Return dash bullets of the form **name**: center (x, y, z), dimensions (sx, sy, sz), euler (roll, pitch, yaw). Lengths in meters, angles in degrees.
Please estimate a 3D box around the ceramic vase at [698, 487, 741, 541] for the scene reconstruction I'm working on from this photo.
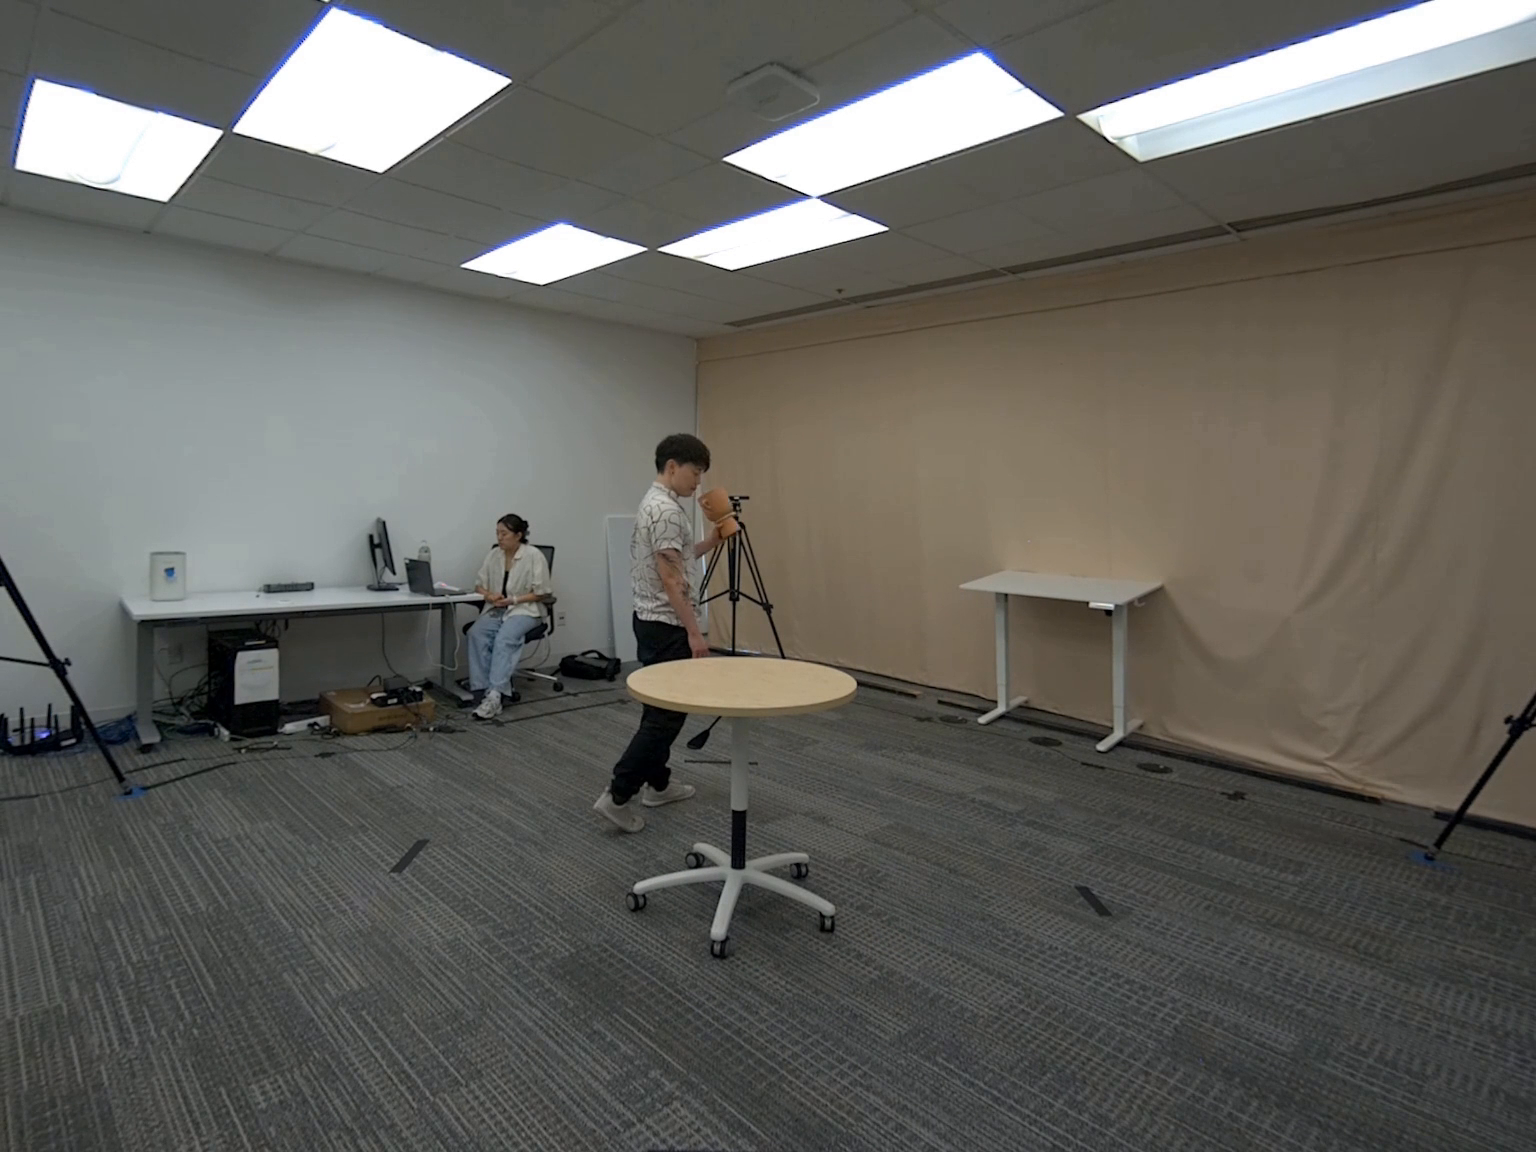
- **ceramic vase**: center (-0.233, -0.291, 3.912), dimensions (0.158, 0.221, 0.135), euler (-27, -4, -19)
